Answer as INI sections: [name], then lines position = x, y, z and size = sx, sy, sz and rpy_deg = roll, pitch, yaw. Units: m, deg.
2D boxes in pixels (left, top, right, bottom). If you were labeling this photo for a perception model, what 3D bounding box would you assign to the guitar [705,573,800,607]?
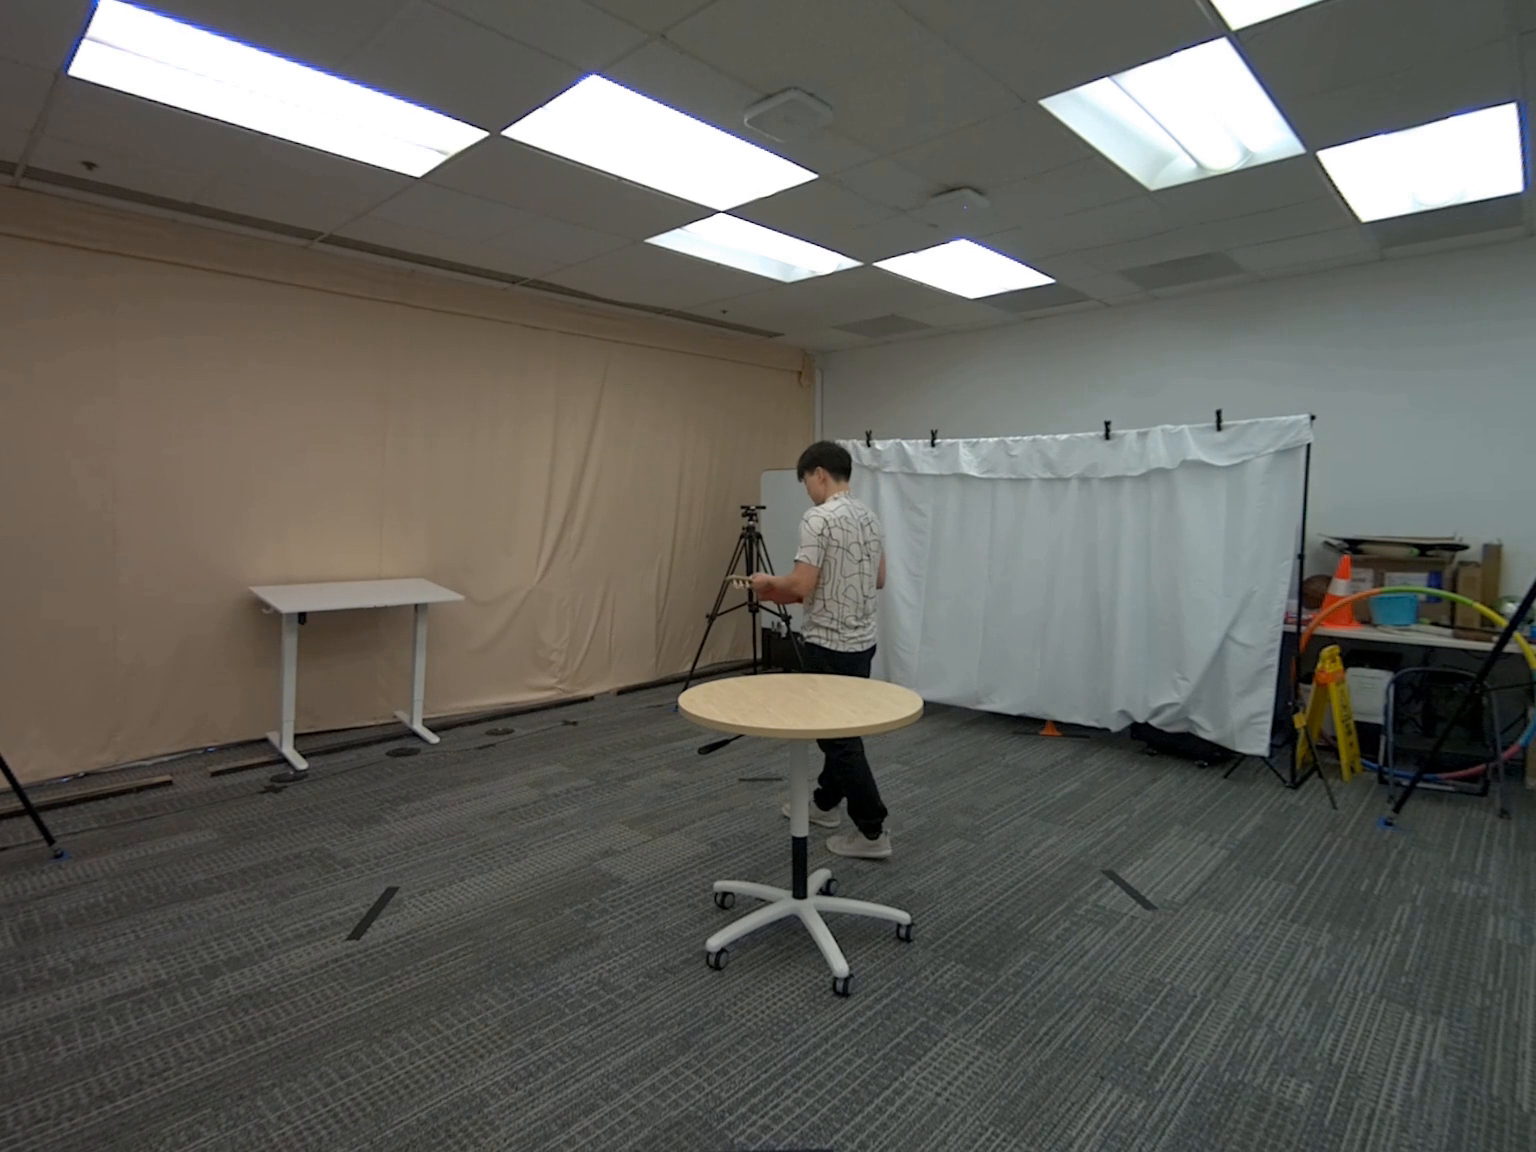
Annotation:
[guitar]
position = -0.012, 0.062, 3.632
size = 0.482, 0.071, 0.197
rpy_deg = 4, -20, -40
